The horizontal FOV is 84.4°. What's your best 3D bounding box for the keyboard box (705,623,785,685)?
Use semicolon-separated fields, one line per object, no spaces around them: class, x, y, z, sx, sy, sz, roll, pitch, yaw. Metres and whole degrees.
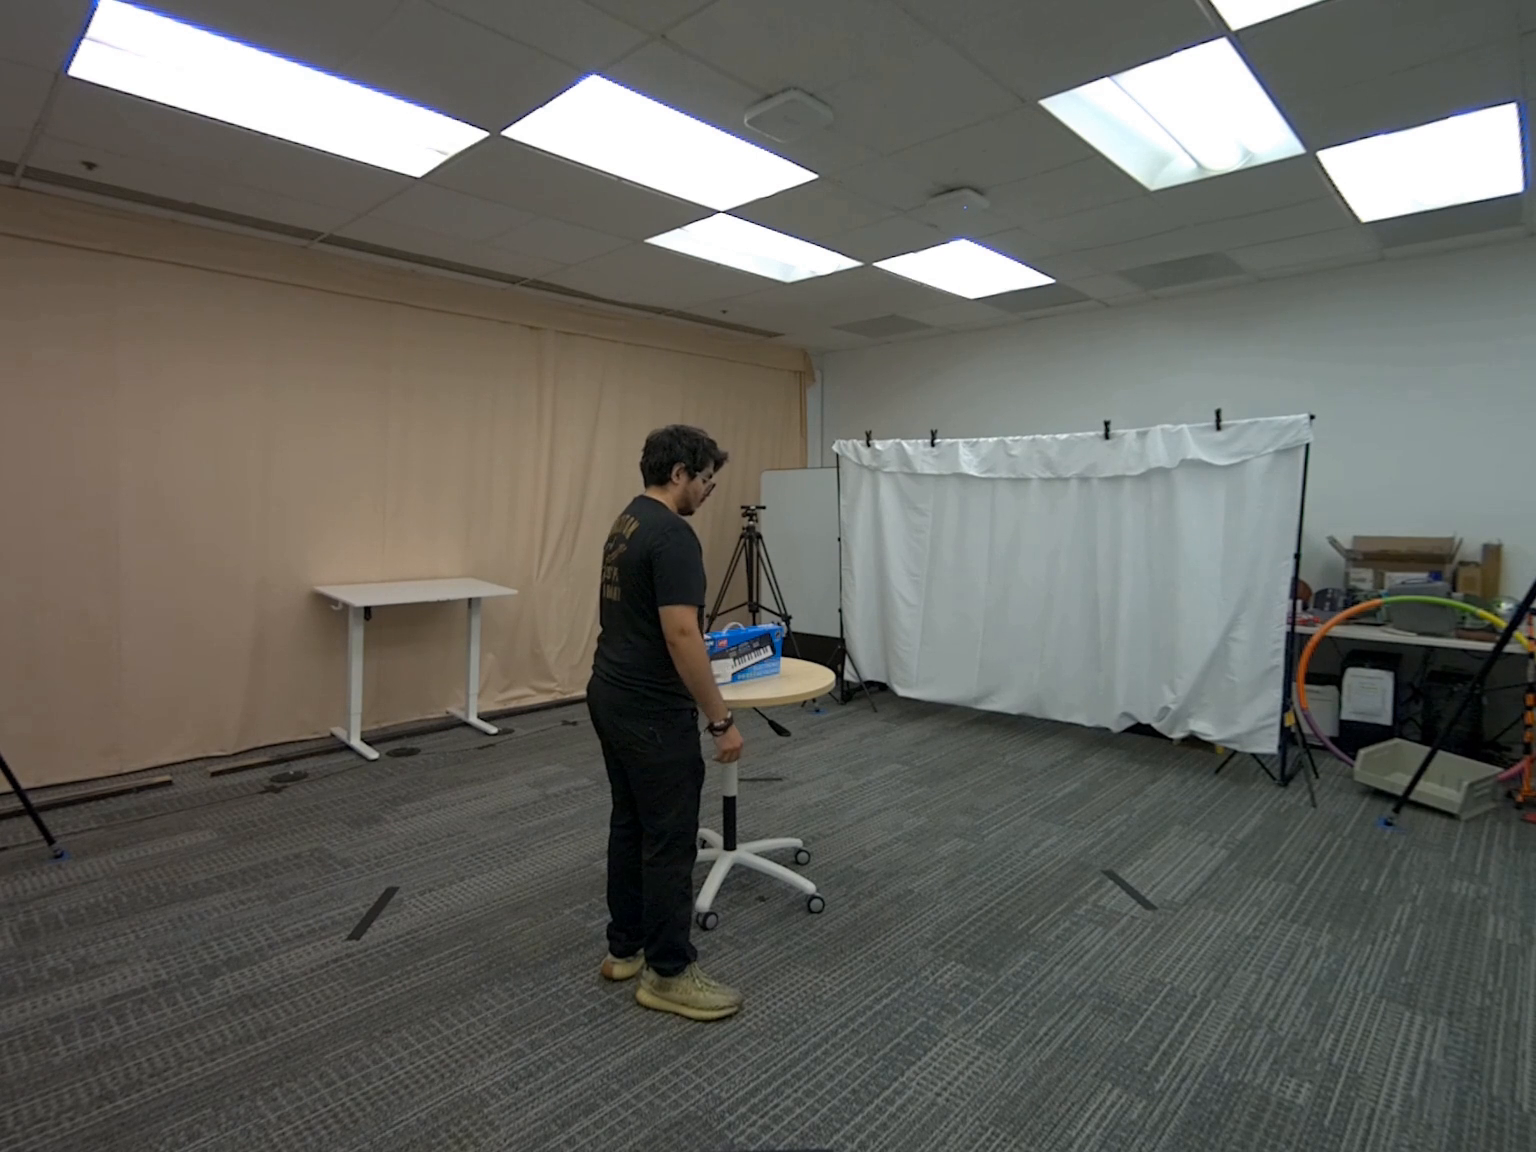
keyboard box;-0.125;0.281;2.919;0.424;0.175;0.061;-6;12;-43
